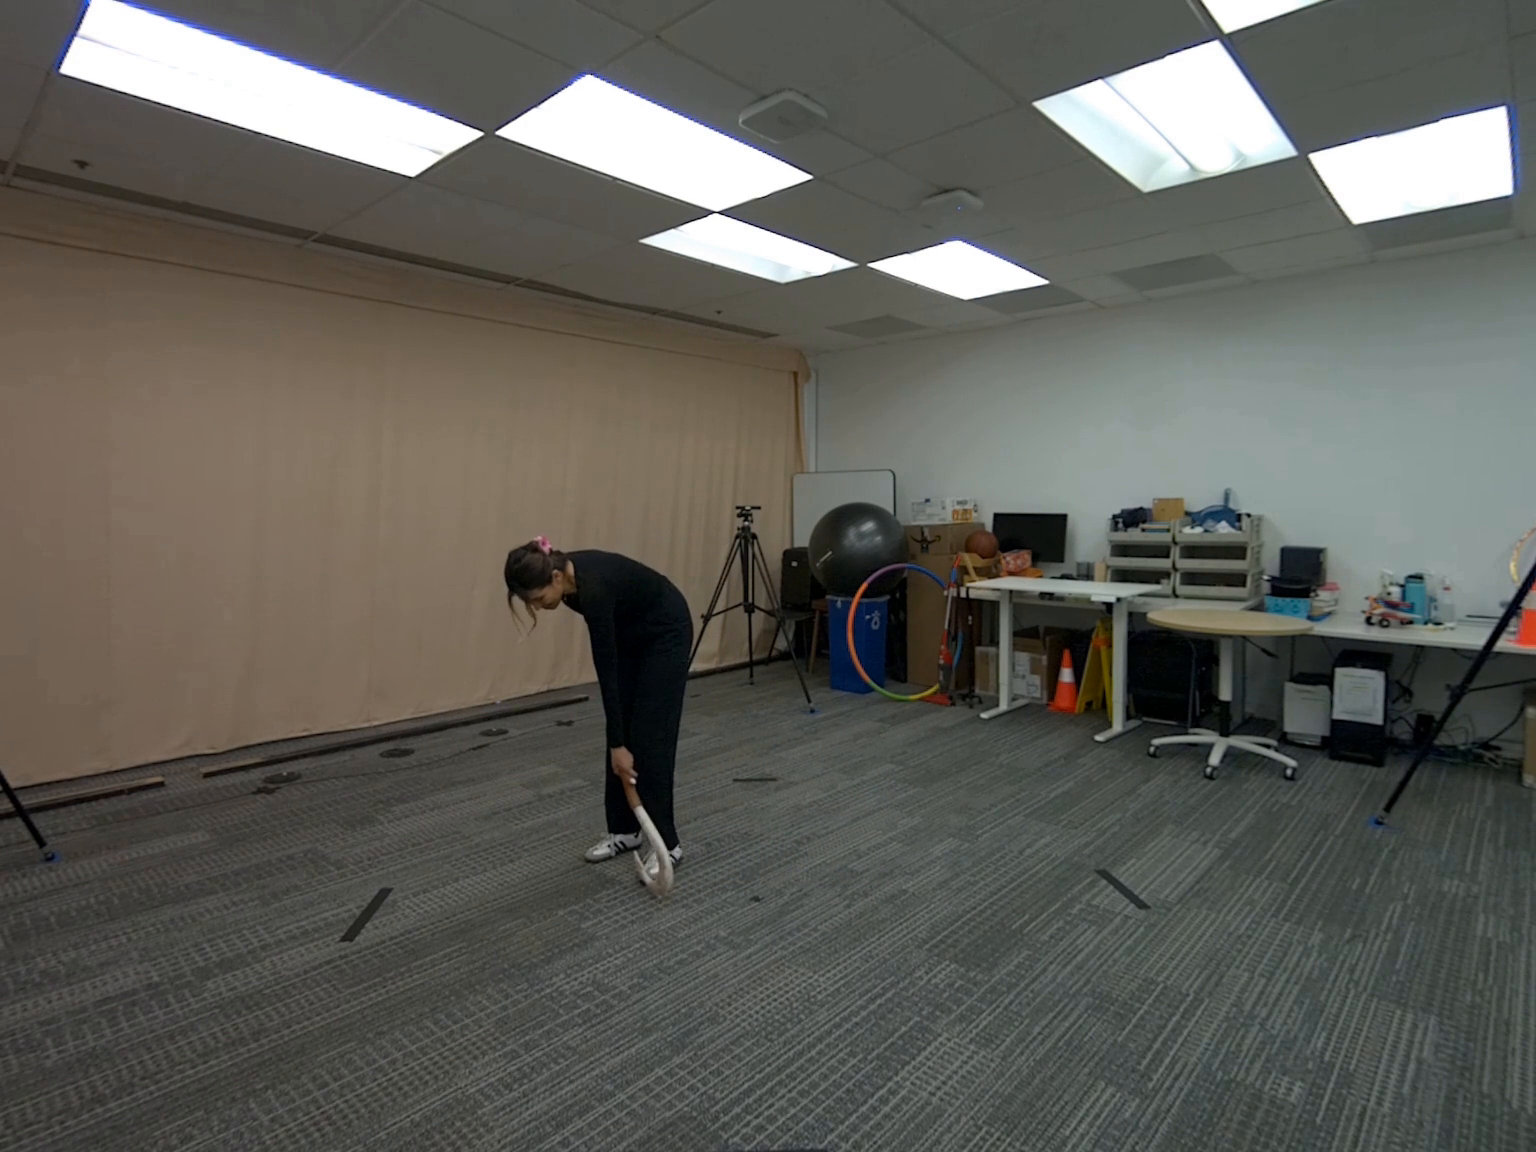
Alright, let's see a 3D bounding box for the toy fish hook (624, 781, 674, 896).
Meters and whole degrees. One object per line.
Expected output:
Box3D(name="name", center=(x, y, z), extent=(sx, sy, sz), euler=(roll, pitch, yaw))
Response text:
Box3D(name="toy fish hook", center=(-0.471, 0.912, 3.077), extent=(0.047, 0.519, 0.226), euler=(0, -37, -41))
